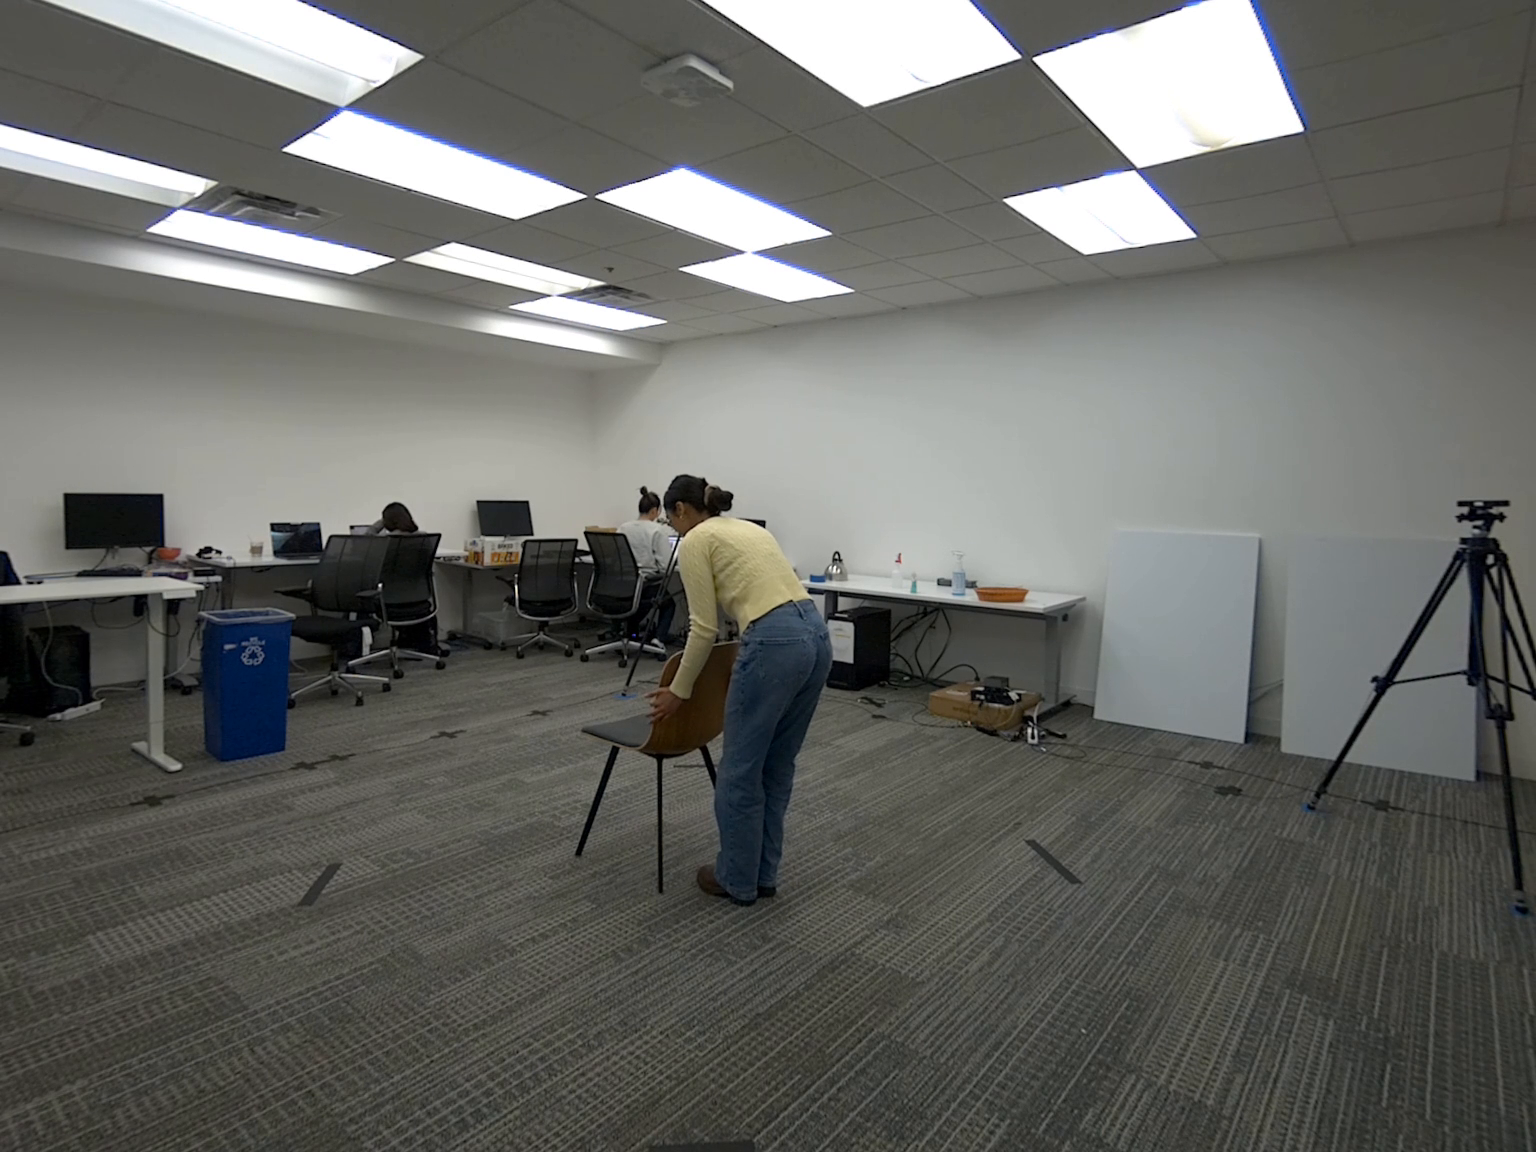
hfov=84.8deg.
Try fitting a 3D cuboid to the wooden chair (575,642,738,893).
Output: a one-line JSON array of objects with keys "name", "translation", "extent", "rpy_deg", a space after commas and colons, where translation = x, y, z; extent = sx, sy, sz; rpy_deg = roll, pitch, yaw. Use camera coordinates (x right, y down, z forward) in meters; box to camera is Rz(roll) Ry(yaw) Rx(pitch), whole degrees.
[{"name": "wooden chair", "translation": [-0.422, 0.631, 3.212], "extent": [0.542, 0.873, 0.464], "rpy_deg": [10, 8, 39]}]
